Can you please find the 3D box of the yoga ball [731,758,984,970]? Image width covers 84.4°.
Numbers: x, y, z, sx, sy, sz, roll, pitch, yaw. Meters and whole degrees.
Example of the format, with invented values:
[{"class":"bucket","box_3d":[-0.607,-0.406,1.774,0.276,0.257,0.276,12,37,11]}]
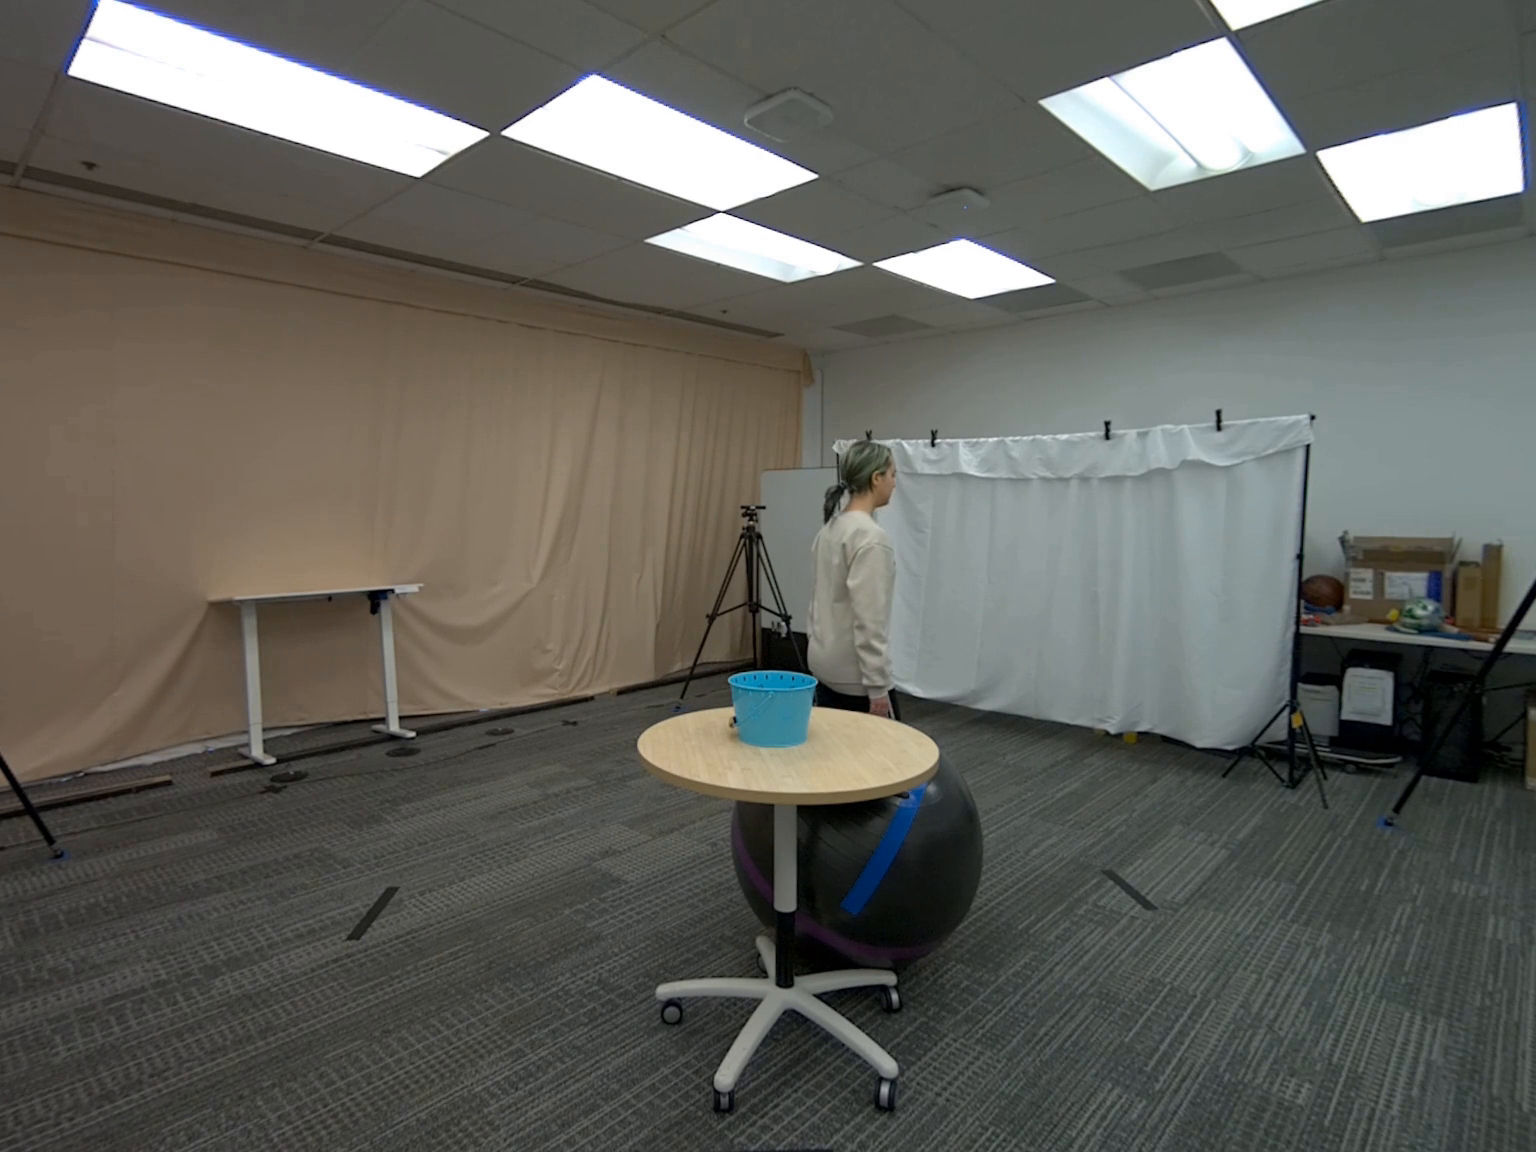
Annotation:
[{"class":"yoga ball","box_3d":[0.277,0.810,2.582,0.757,0.756,0.760,0,4,-2]}]
